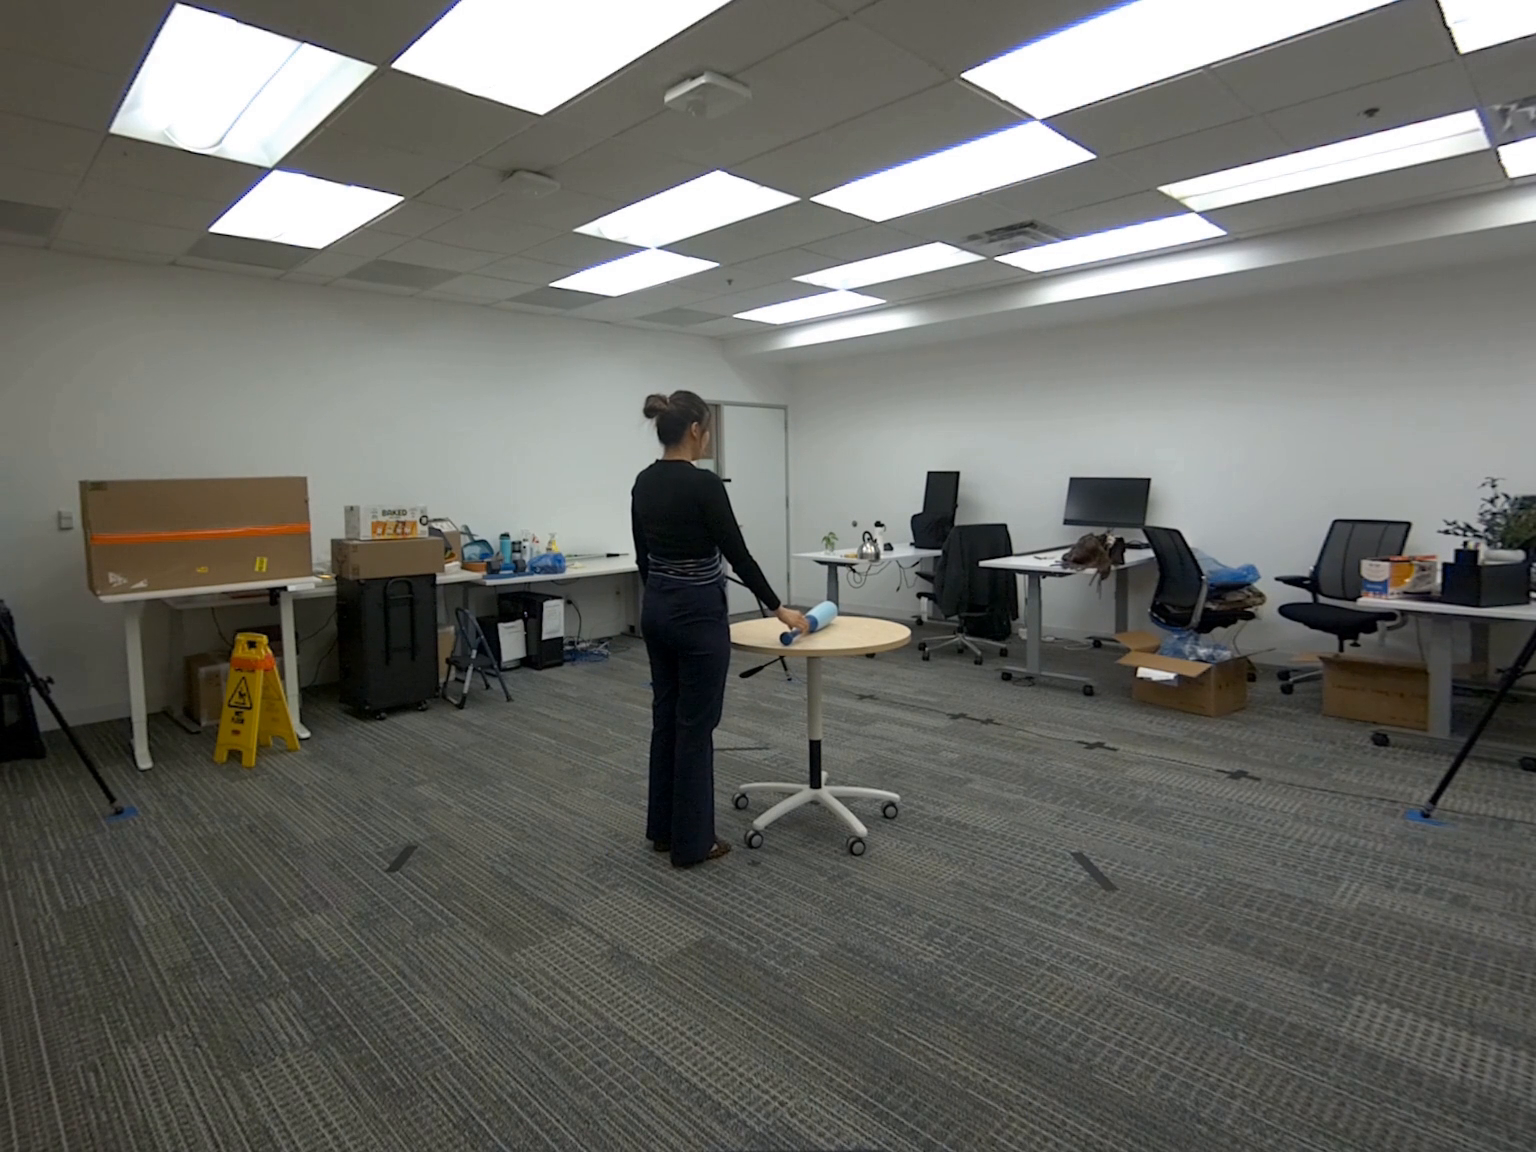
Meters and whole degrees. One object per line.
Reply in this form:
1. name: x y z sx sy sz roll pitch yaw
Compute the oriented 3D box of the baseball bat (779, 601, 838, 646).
1. baseball bat: 0.163 0.193 3.371 0.091 0.088 0.536 1 10 20
